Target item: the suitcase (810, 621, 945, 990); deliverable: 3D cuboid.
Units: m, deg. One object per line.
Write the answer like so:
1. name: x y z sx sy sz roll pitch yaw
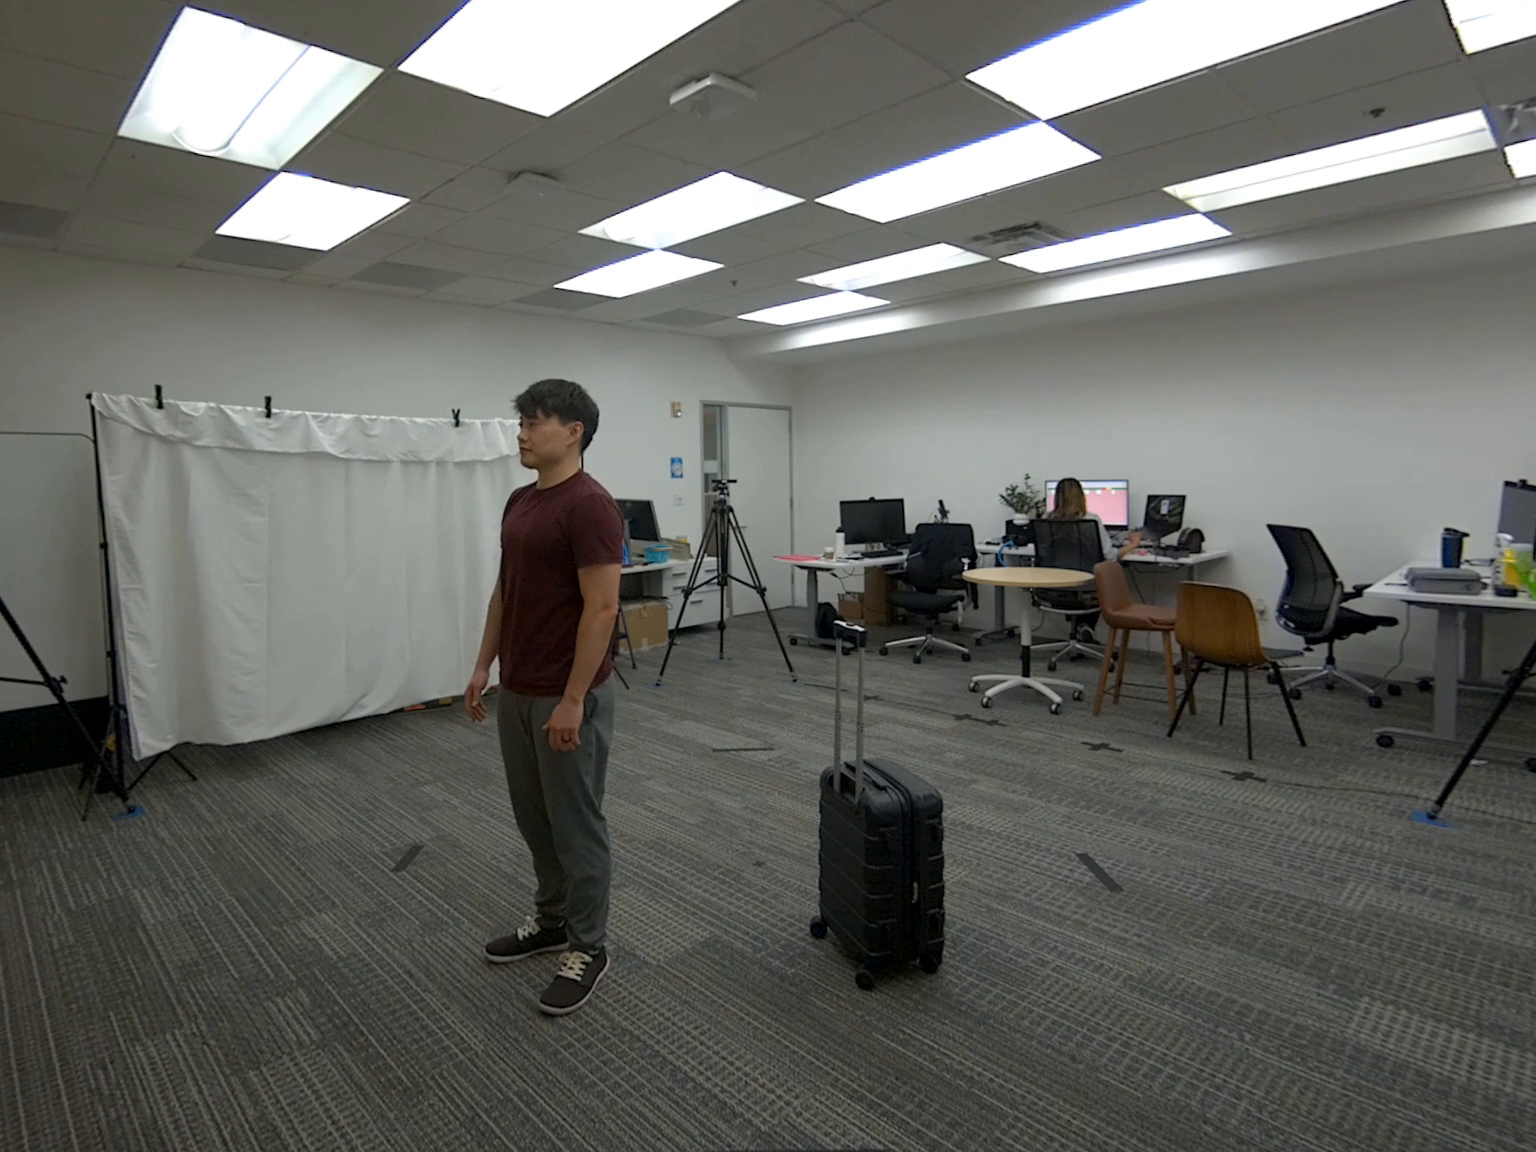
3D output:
1. suitcase: 0.332 0.634 2.484 0.252 0.975 0.392 0 5 -20
